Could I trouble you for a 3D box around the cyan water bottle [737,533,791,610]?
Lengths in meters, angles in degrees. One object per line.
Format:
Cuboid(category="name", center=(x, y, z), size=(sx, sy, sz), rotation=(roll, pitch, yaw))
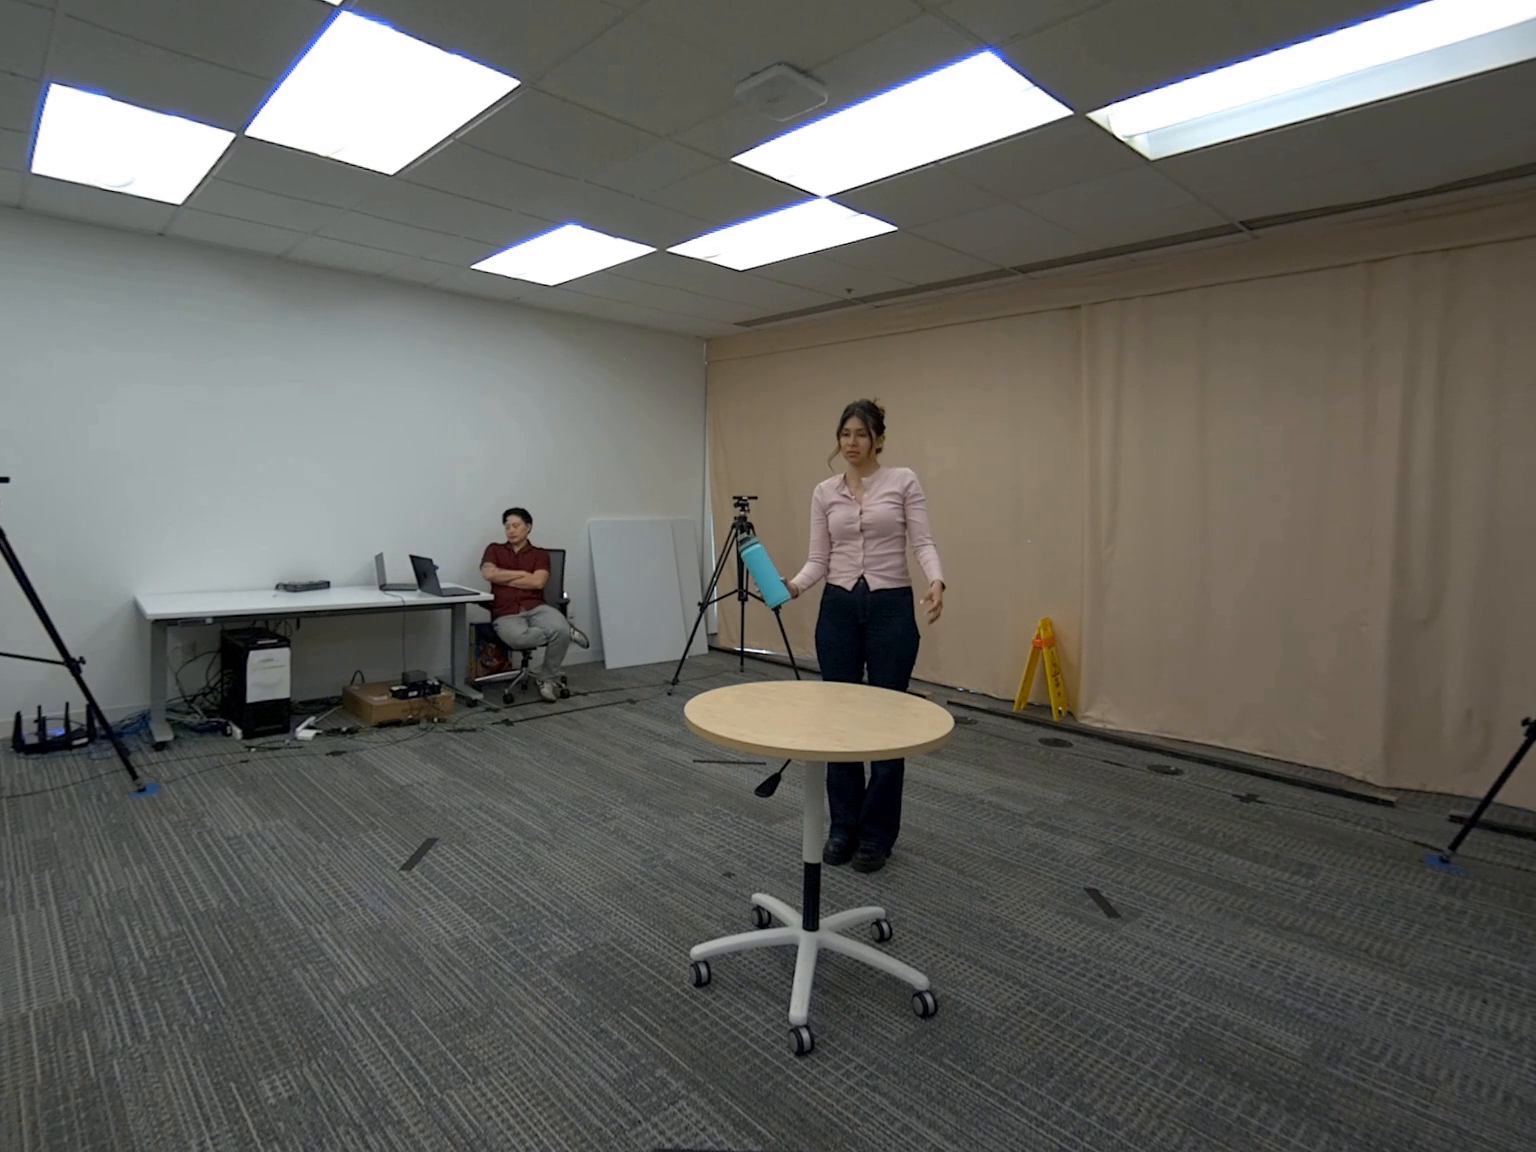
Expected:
Cuboid(category="cyan water bottle", center=(-0.025, -0.025, 3.024), size=(0.092, 0.286, 0.091), rotation=(-27, -9, -5))
